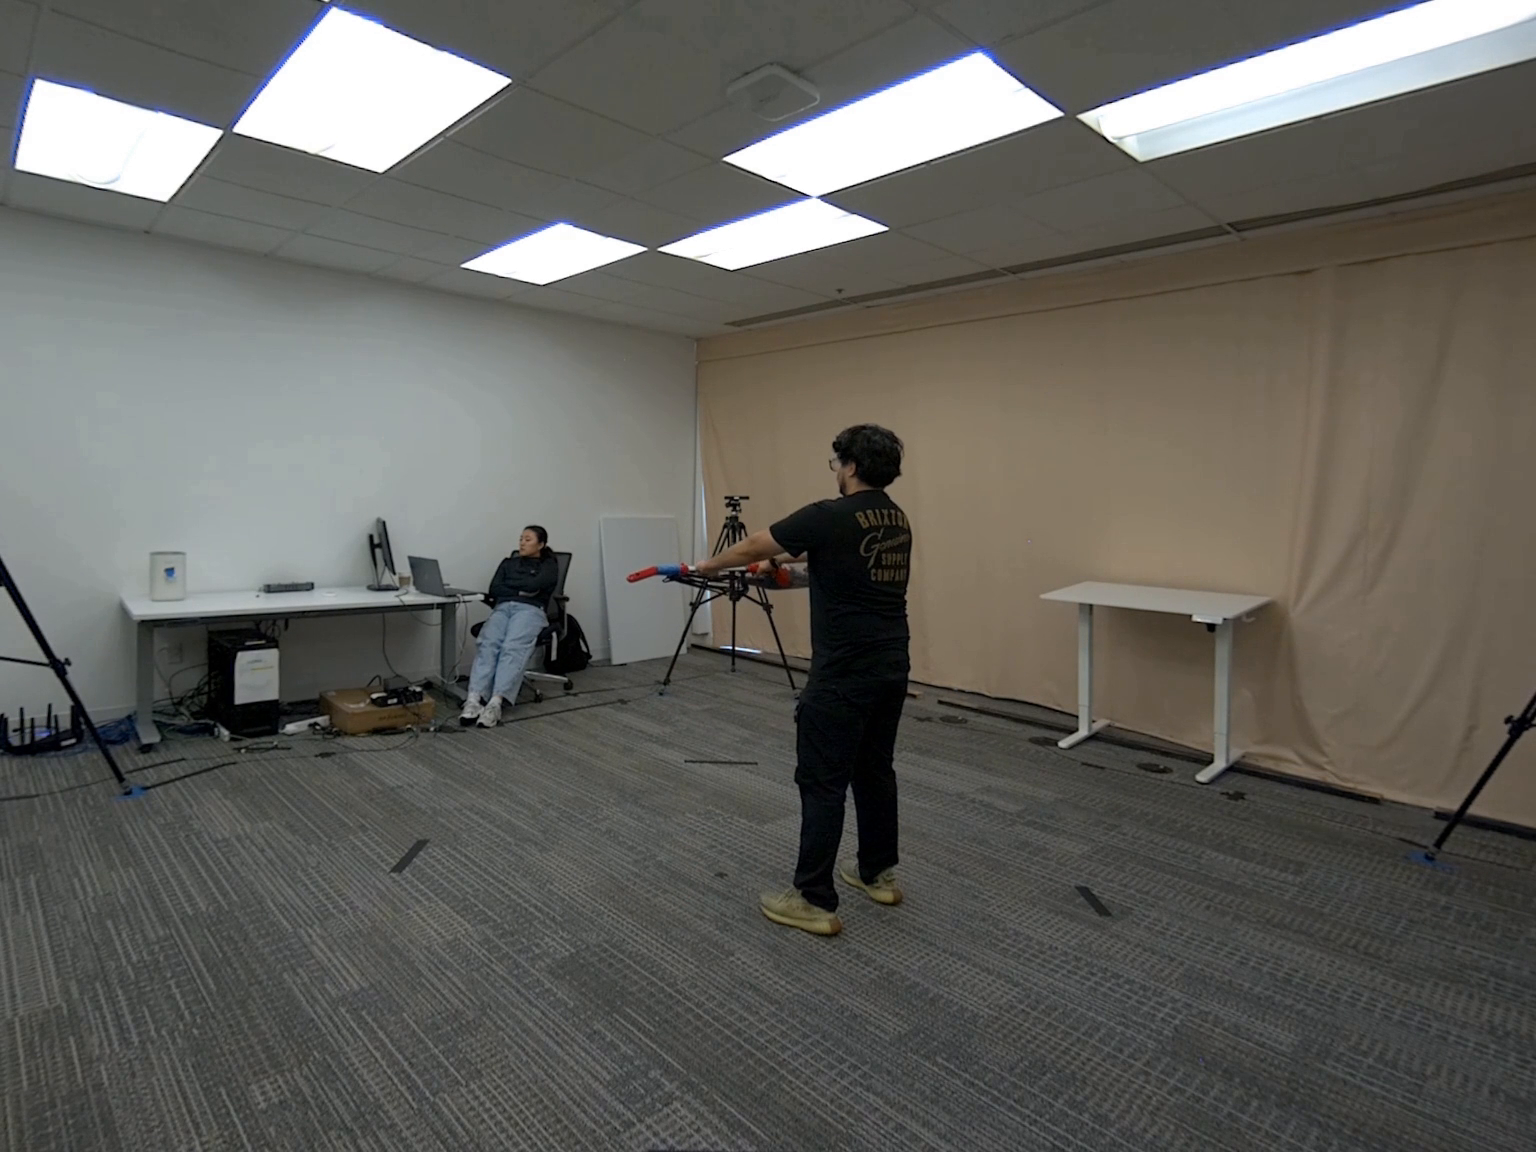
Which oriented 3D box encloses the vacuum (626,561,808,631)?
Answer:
[{"bbox_3d":[-0.117,0.006,3.283,1.025,0.143,0.260,-2,41,-44],"label":"vacuum"}]
